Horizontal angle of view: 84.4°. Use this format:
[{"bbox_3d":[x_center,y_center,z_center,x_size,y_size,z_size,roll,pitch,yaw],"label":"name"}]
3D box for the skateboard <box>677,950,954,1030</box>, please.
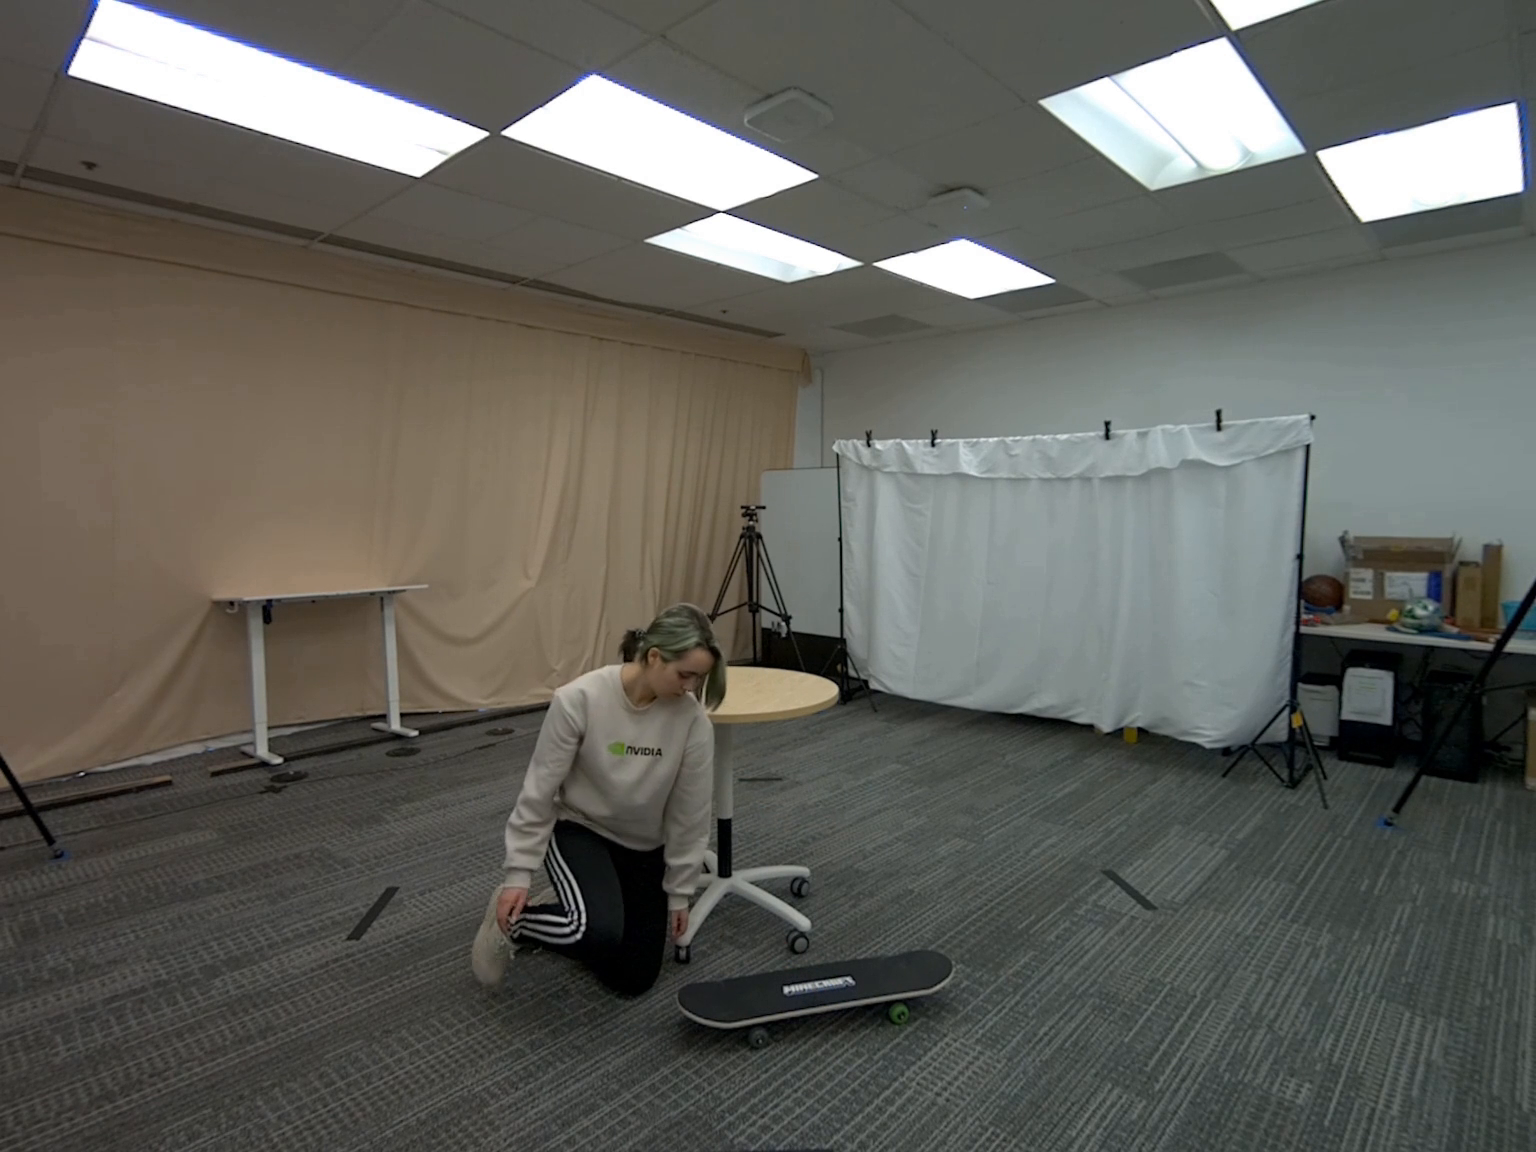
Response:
[{"bbox_3d":[0.146,1.135,2.295,0.773,0.110,0.197,-2,6,-15],"label":"skateboard"}]
